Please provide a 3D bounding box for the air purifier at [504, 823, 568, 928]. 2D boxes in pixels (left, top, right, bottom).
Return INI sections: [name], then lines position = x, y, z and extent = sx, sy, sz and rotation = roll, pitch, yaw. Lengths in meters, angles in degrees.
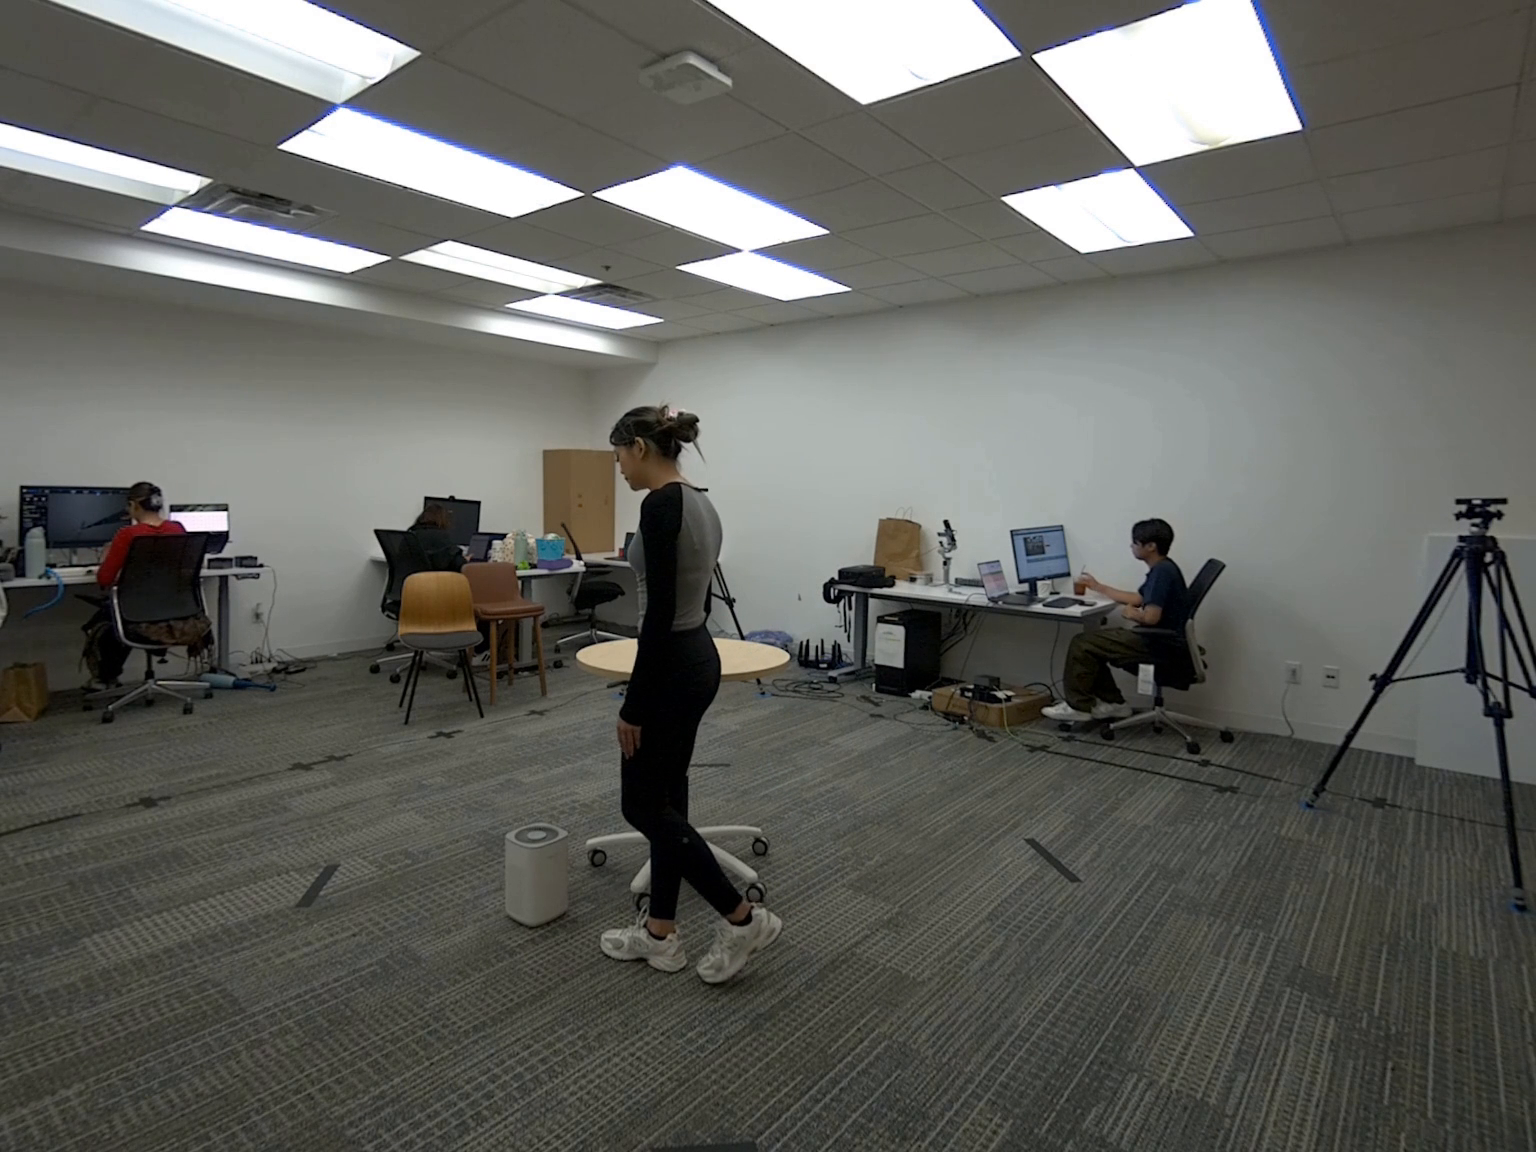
[air purifier]
position = -0.759, 0.963, 2.749
extent = 0.177, 0.264, 0.166
rotation = 3, 4, 35
